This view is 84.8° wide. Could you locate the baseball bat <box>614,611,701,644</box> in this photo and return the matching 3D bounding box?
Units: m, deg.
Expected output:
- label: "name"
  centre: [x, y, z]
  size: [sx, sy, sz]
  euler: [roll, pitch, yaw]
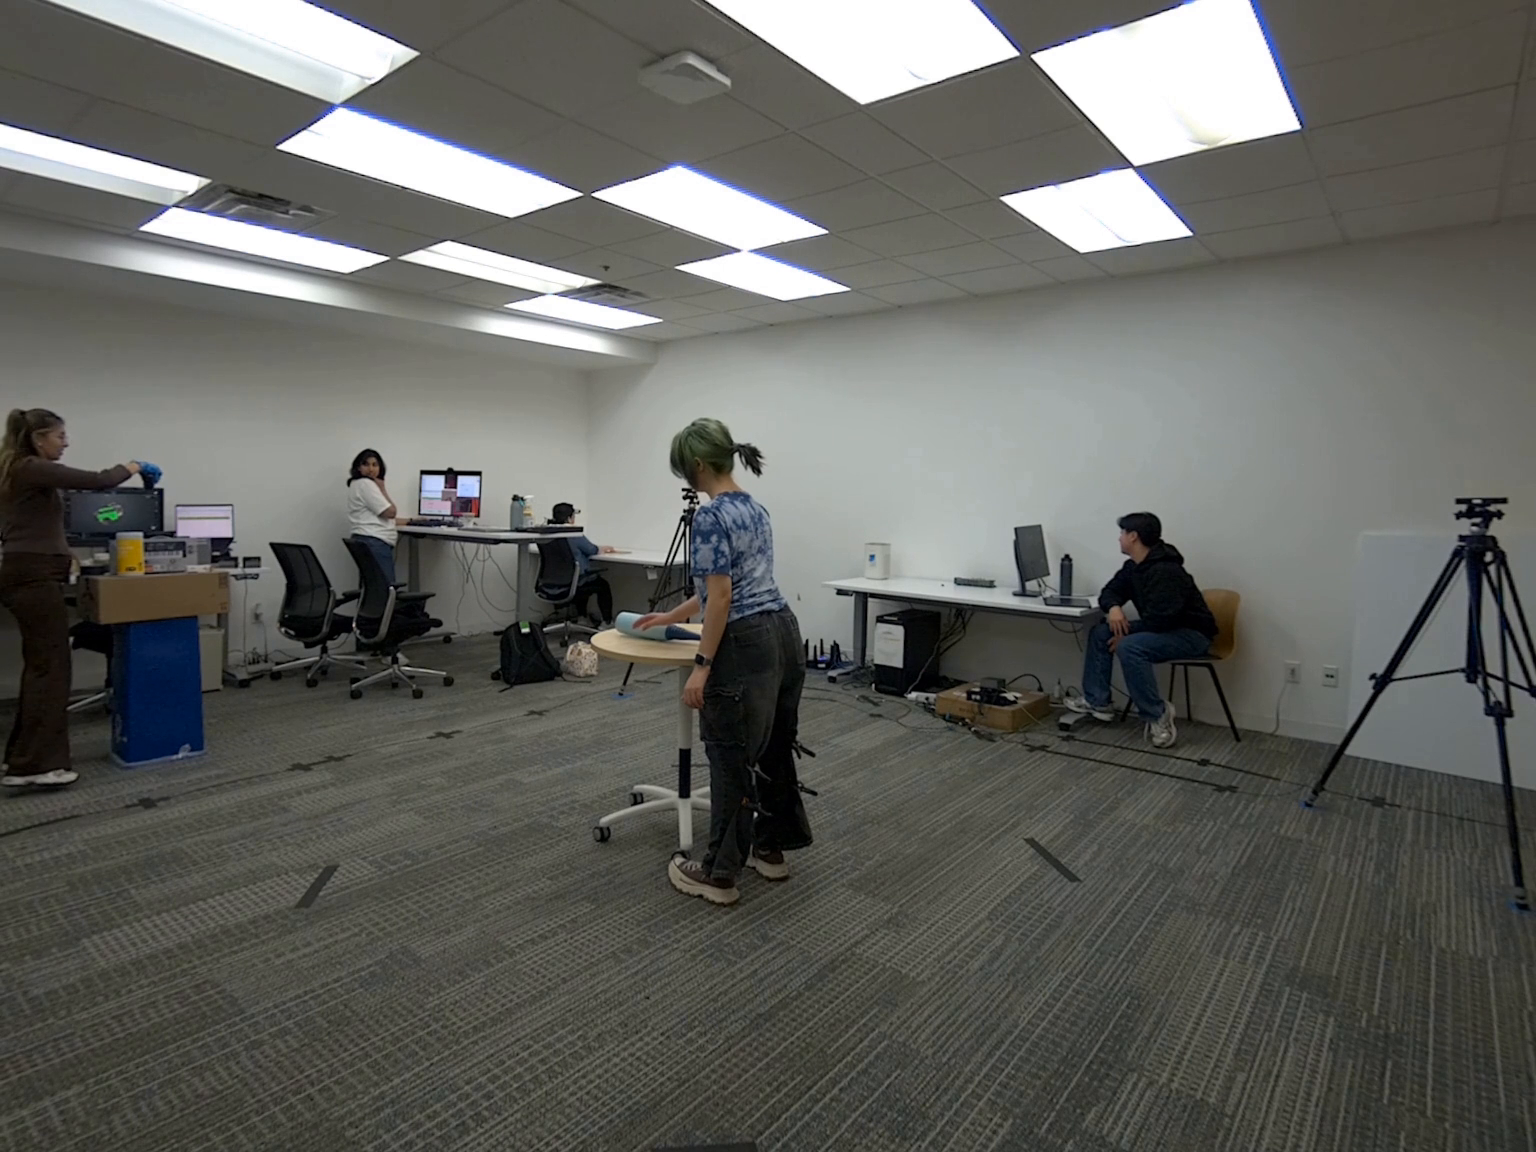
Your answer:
- label: "baseball bat"
  centre: [-0.379, 0.225, 3.355]
  size: [0.560, 0.088, 0.087]
  euler: [9, 7, 29]
